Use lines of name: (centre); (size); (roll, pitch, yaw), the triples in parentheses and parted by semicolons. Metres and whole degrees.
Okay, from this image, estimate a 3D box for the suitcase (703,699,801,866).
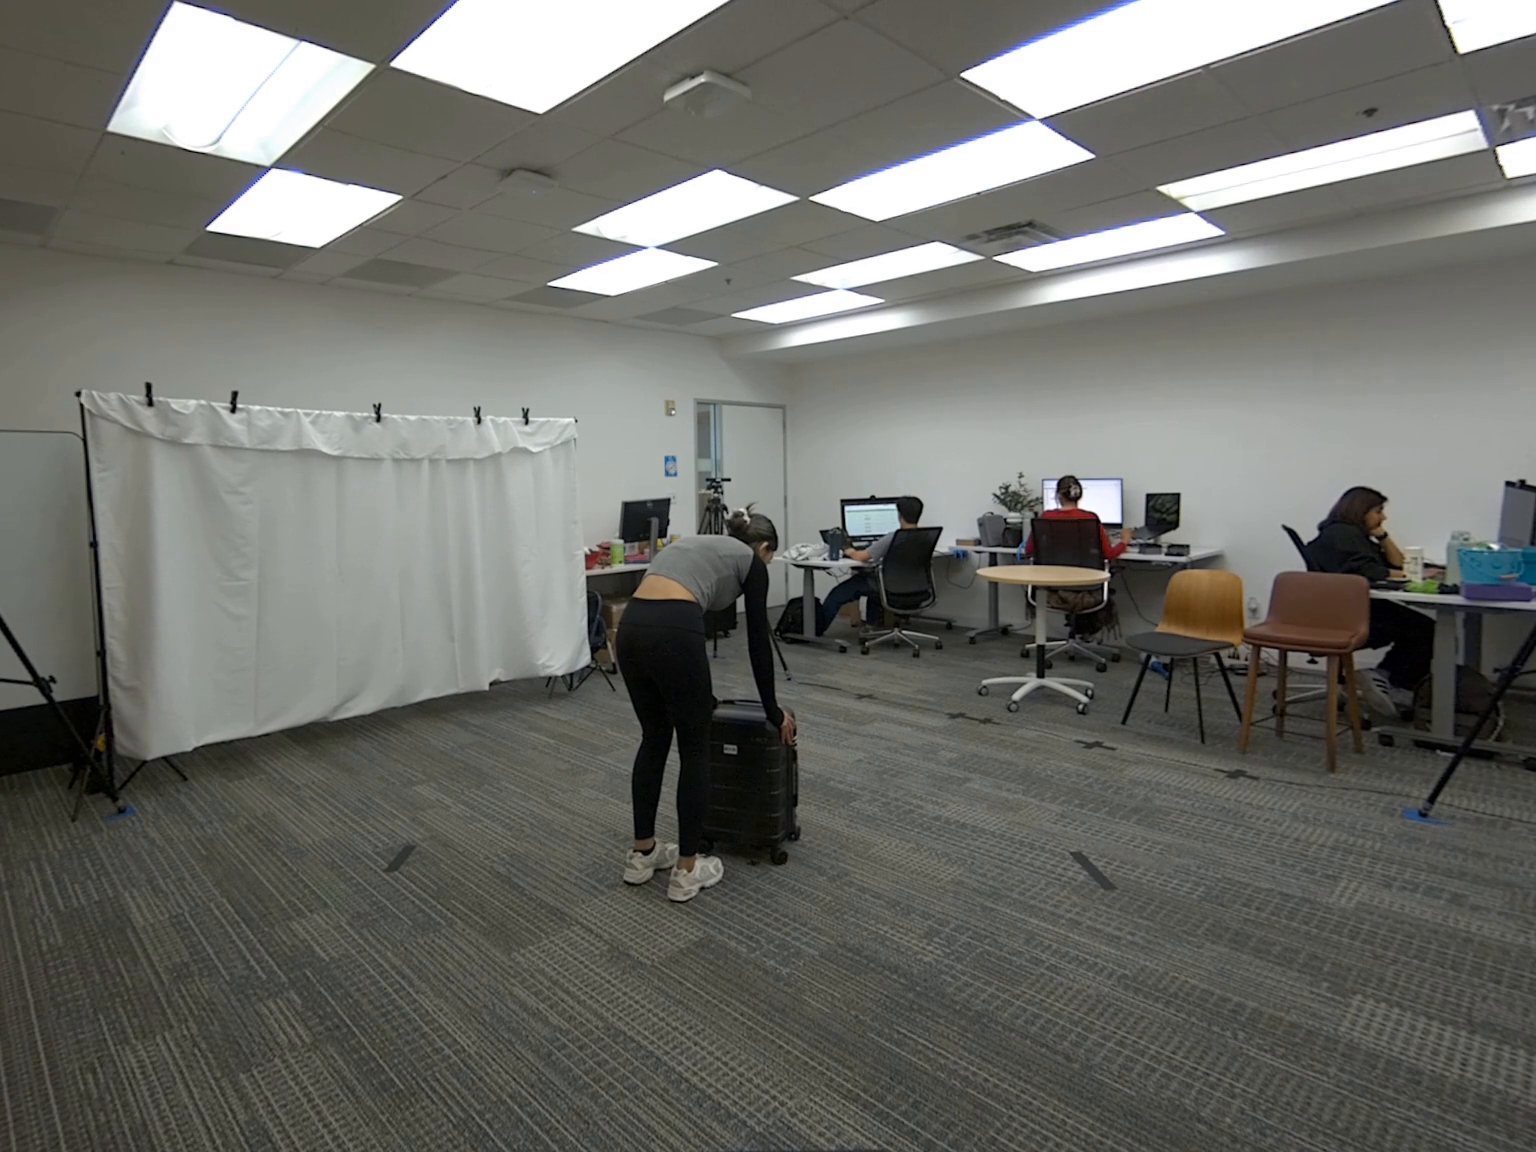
suitcase: (-0.076, 0.753, 3.237); (0.383, 0.547, 0.244); (1, 4, 21)
